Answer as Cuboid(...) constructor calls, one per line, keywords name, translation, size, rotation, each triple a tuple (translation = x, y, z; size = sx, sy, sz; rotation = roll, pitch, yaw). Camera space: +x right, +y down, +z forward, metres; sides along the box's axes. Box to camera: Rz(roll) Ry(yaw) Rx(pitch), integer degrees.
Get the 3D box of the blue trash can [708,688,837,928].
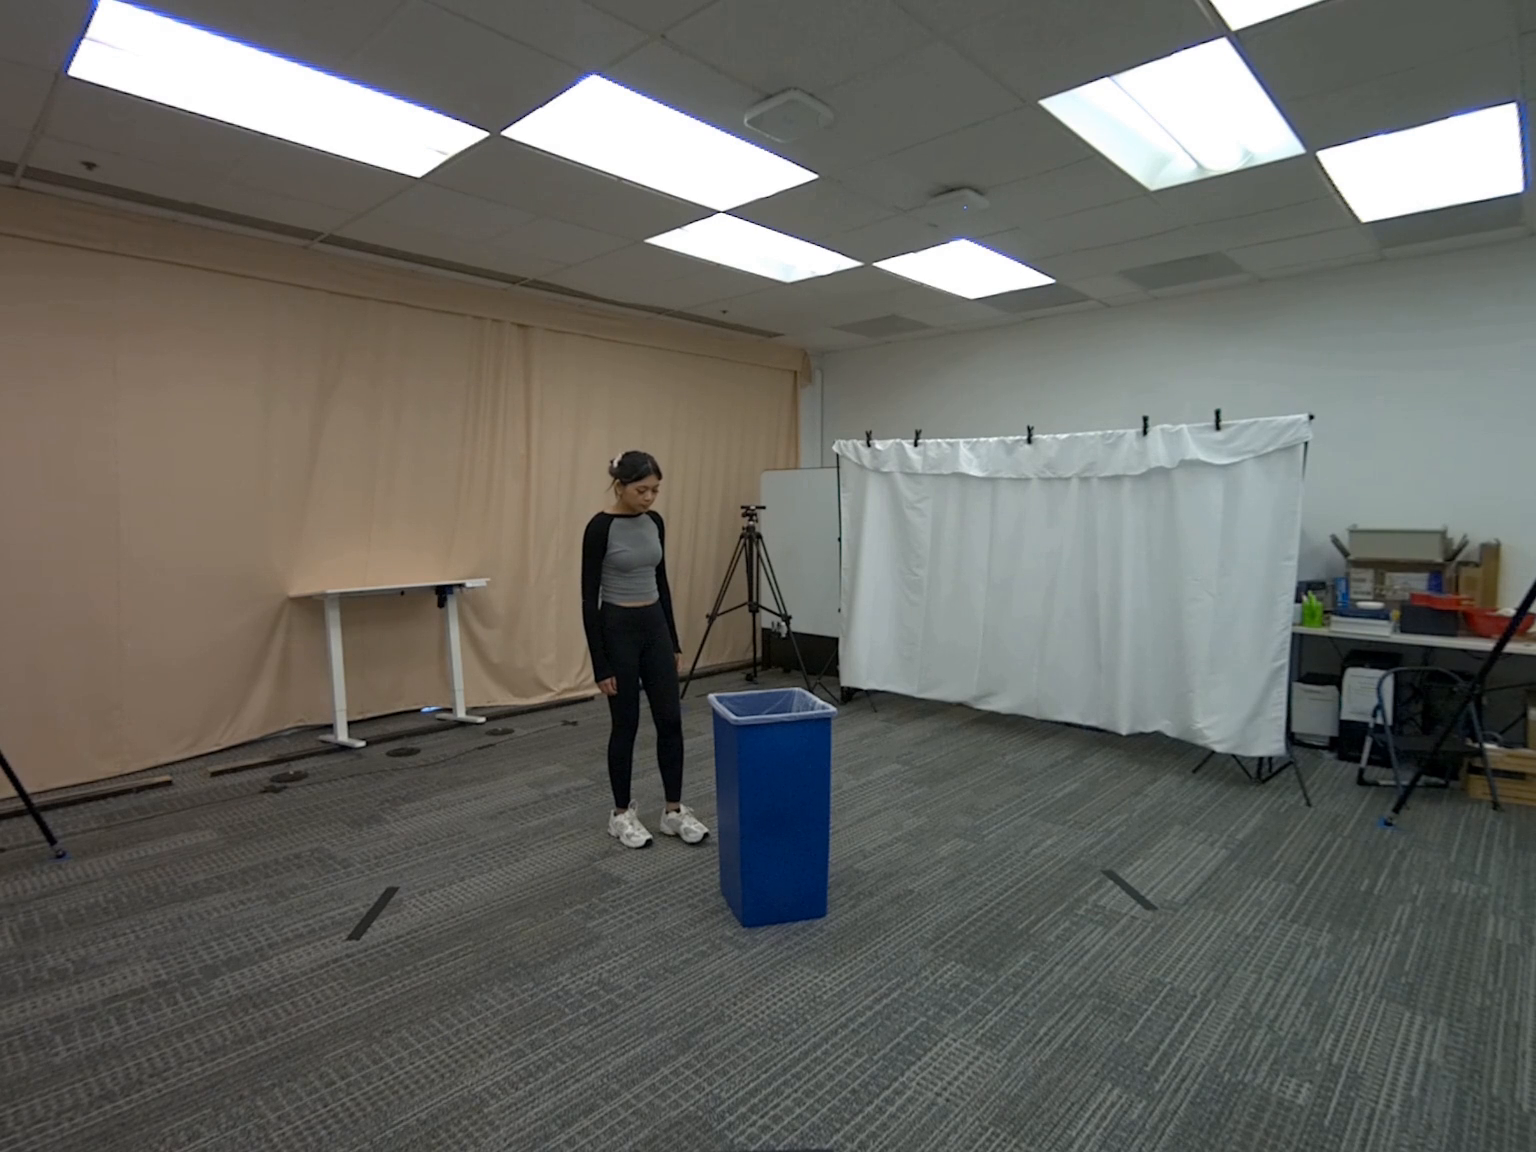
Cuboid(name="blue trash can", translation=(0.008, 0.790, 2.942), size=(0.371, 0.712, 0.382), rotation=(-2, 4, -18))
